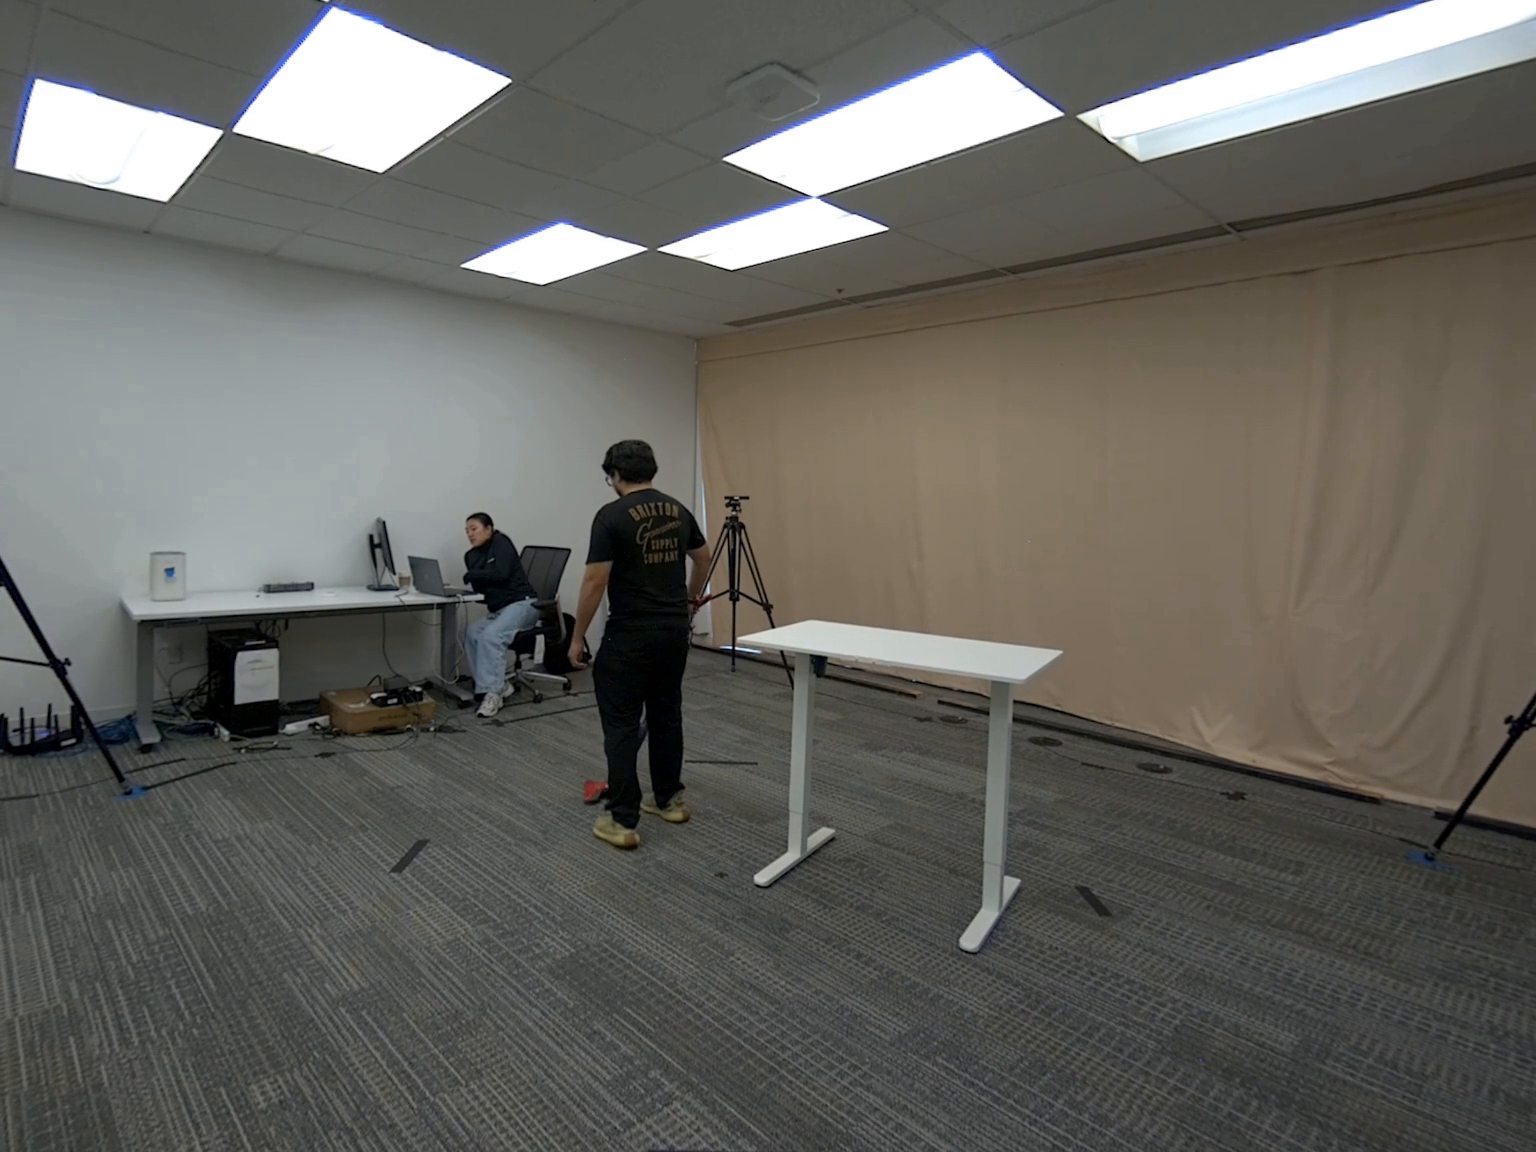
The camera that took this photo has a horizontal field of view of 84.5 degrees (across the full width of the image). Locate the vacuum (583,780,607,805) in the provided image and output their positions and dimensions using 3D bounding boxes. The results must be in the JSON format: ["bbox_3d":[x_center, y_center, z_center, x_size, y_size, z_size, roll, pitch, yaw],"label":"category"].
[{"bbox_3d":[-0.543,0.559,3.943,0.141,1.050,0.257,31,-3,-20],"label":"vacuum"}]
